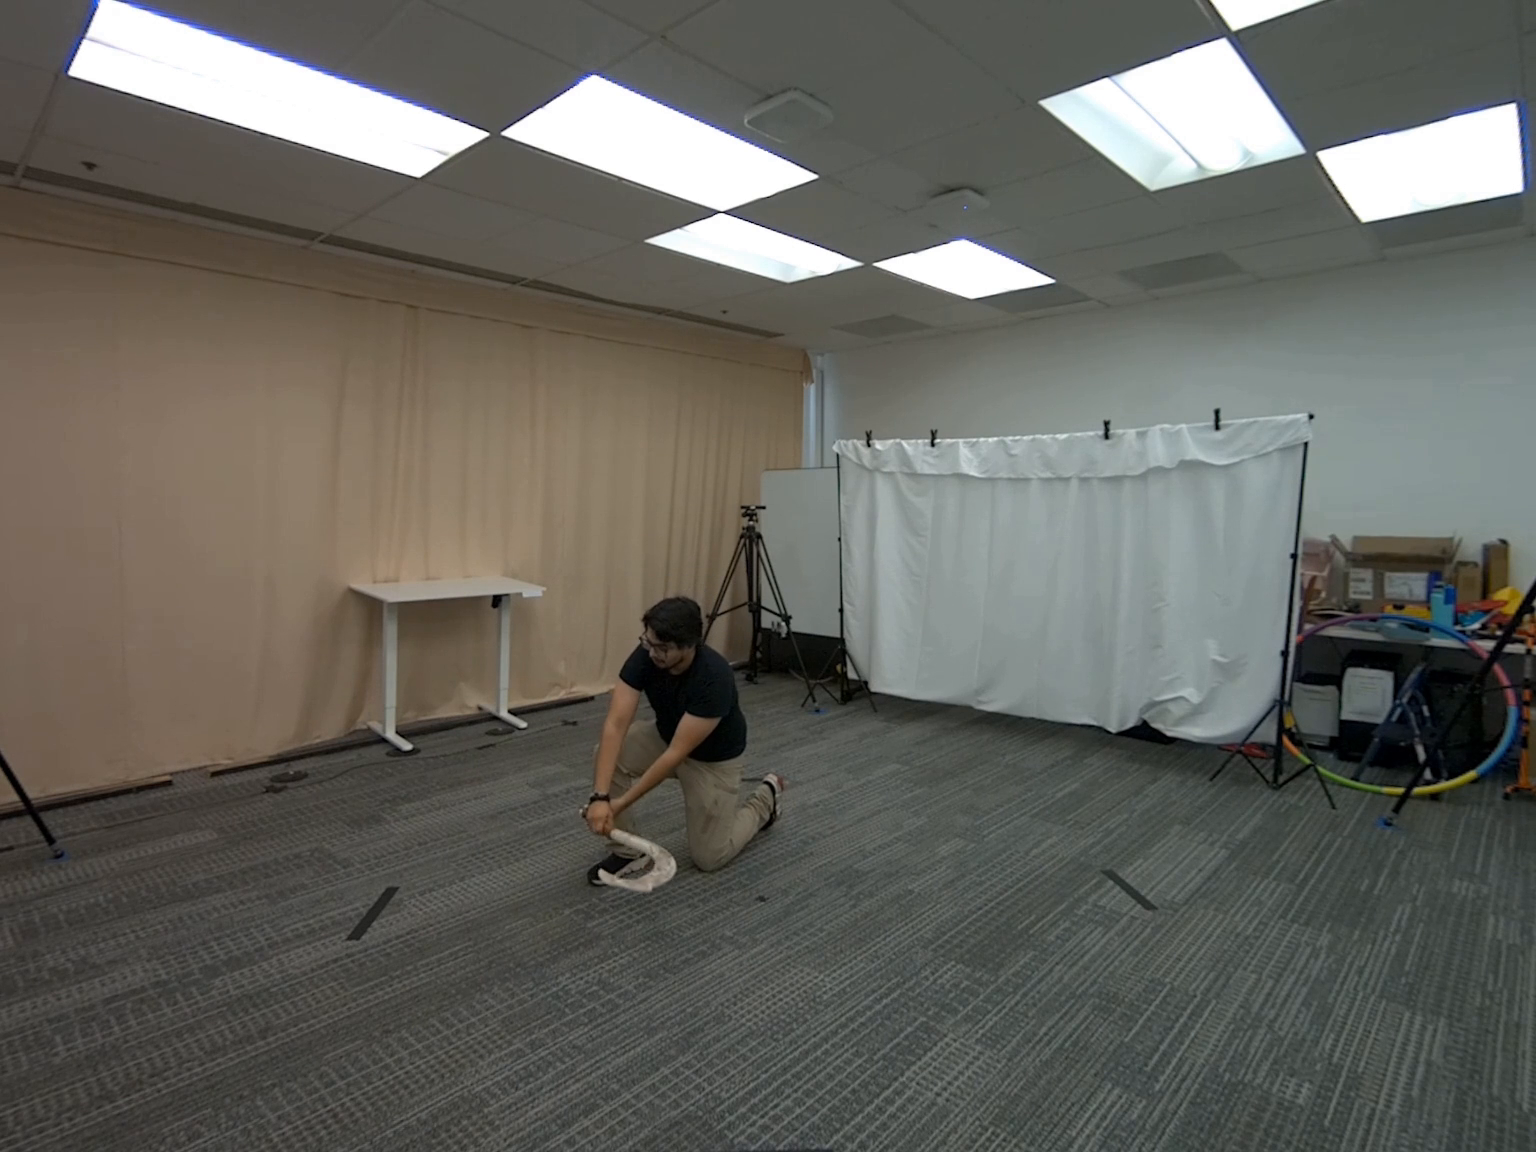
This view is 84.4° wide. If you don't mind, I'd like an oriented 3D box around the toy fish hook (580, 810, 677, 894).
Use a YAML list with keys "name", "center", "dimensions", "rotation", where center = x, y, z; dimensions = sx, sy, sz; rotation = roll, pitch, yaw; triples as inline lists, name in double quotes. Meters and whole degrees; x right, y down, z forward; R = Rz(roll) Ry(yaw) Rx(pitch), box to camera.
- name: "toy fish hook"
  center: [-0.516, 0.889, 2.763]
  dimensions: [0.218, 0.048, 0.525]
  rotation: [-14, 20, -42]
